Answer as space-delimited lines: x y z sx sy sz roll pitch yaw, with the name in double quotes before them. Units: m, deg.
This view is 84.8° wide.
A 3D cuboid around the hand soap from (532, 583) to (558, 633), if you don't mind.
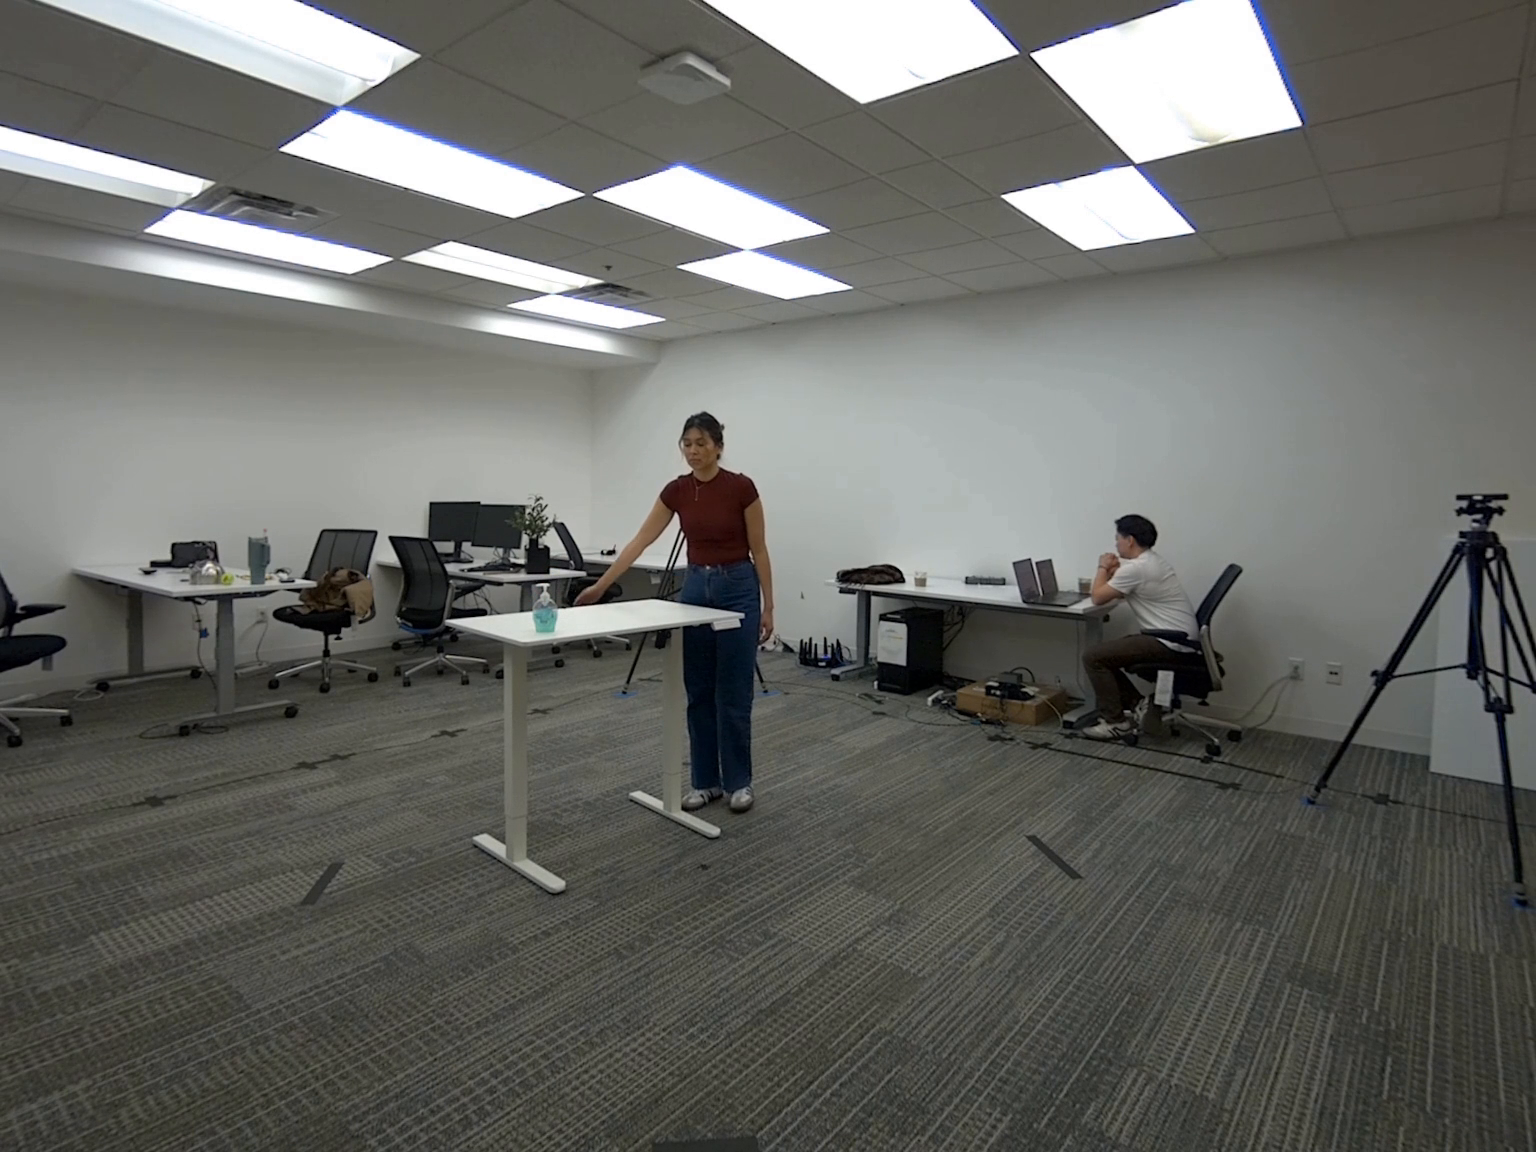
"hand soap" -0.786 0.108 2.966 0.084 0.167 0.044 1 4 -8
